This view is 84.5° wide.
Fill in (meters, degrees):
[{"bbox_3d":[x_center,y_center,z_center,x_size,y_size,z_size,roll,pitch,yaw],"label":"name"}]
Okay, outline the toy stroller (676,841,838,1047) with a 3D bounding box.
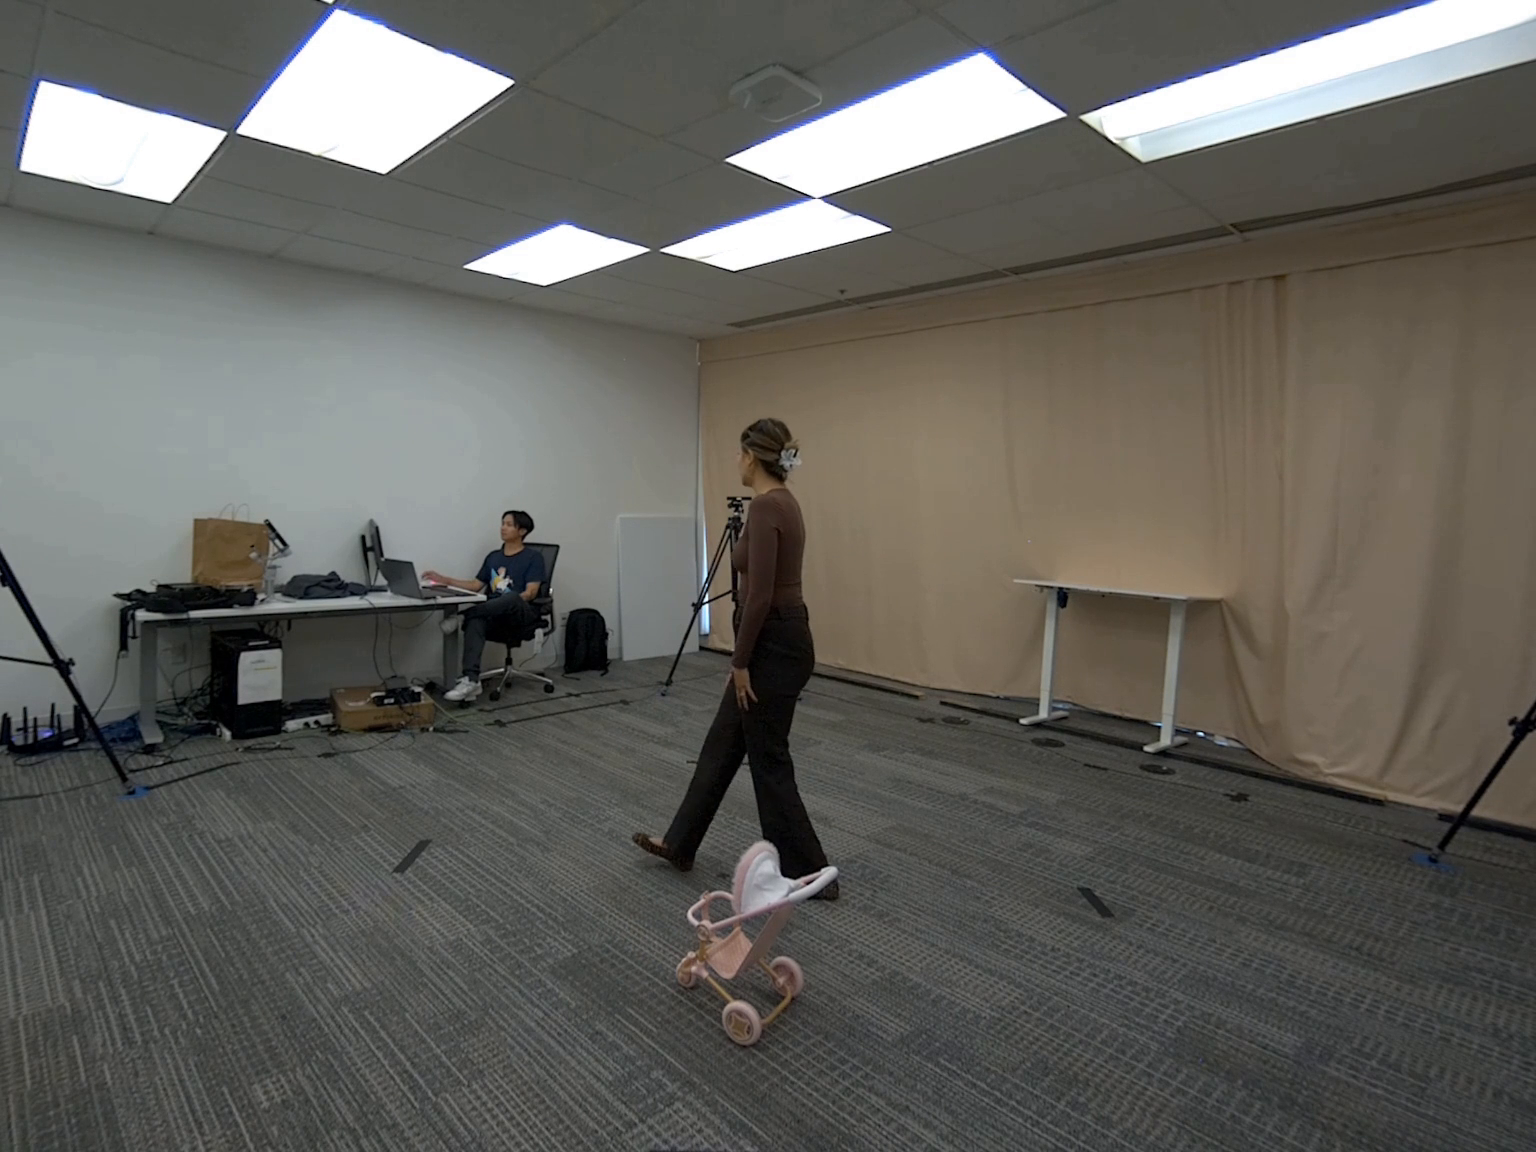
[{"bbox_3d":[-0.063,0.954,2.289,0.351,0.532,0.275,23,13,32],"label":"toy stroller"}]
